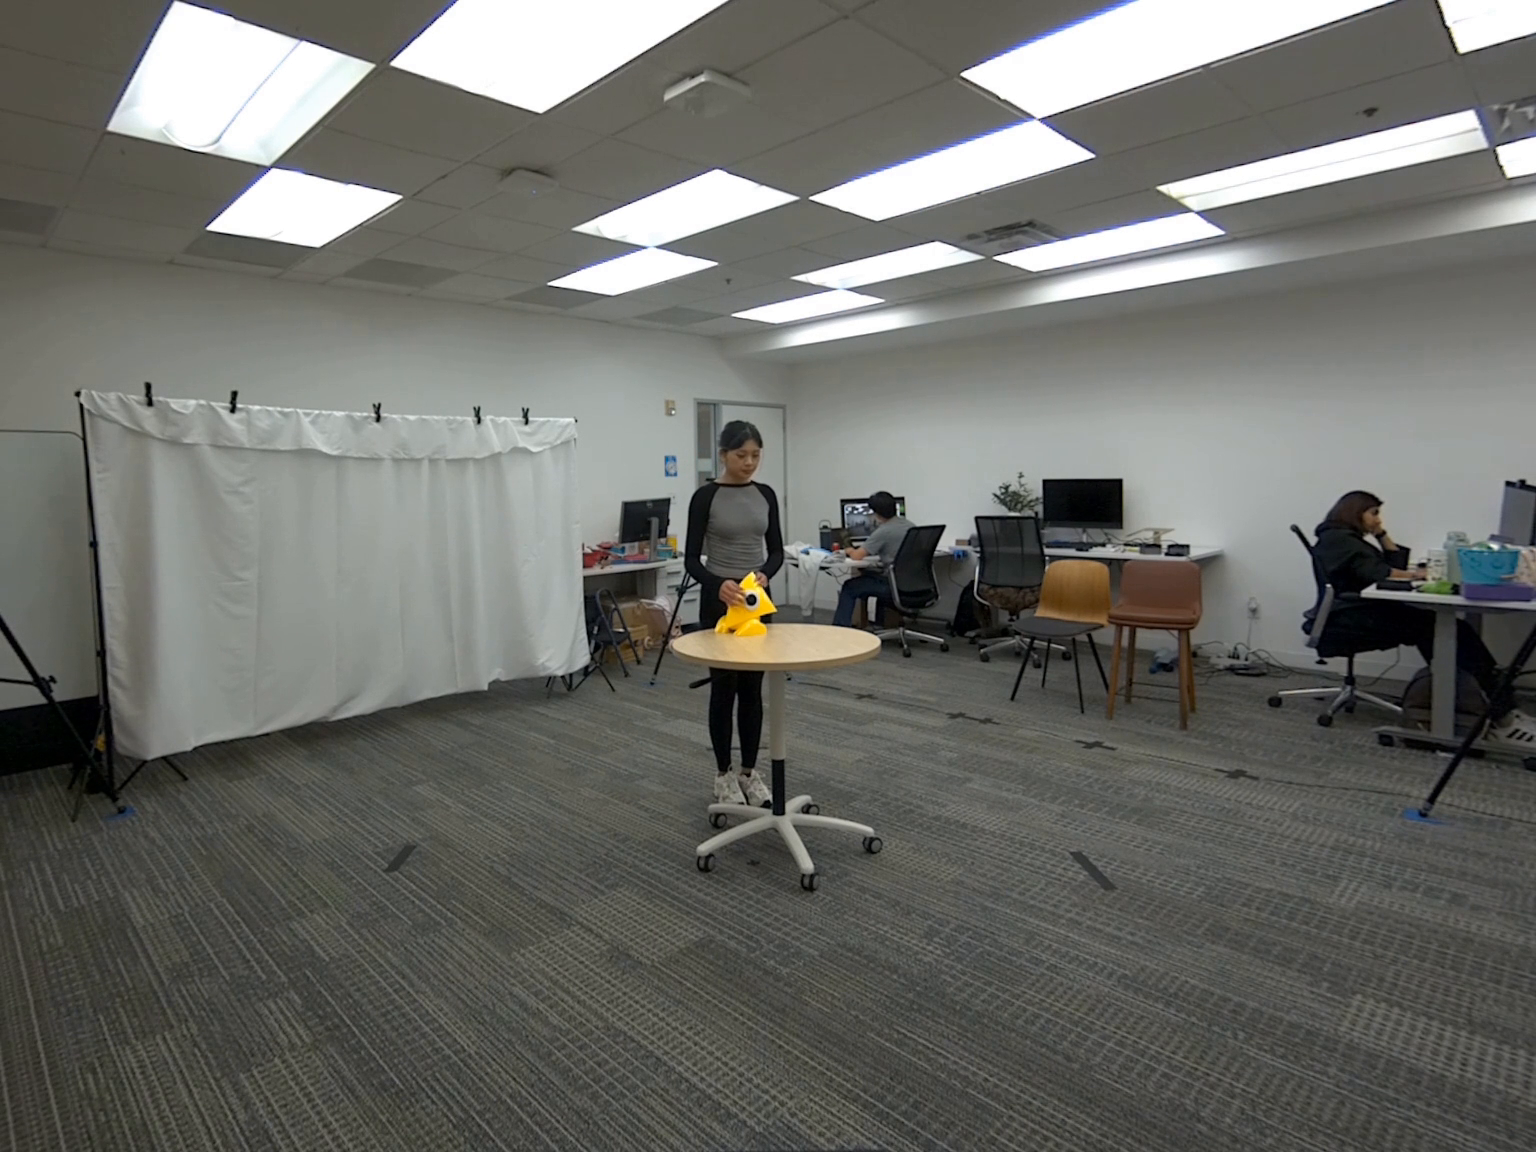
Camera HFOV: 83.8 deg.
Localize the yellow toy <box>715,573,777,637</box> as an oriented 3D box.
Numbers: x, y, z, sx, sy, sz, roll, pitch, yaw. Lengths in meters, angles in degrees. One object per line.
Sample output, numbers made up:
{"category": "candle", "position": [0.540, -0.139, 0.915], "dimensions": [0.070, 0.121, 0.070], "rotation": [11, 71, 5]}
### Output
{"category": "yellow toy", "position": [-0.107, 0.109, 3.388], "dimensions": [0.188, 0.230, 0.211], "rotation": [-6, 6, -44]}
